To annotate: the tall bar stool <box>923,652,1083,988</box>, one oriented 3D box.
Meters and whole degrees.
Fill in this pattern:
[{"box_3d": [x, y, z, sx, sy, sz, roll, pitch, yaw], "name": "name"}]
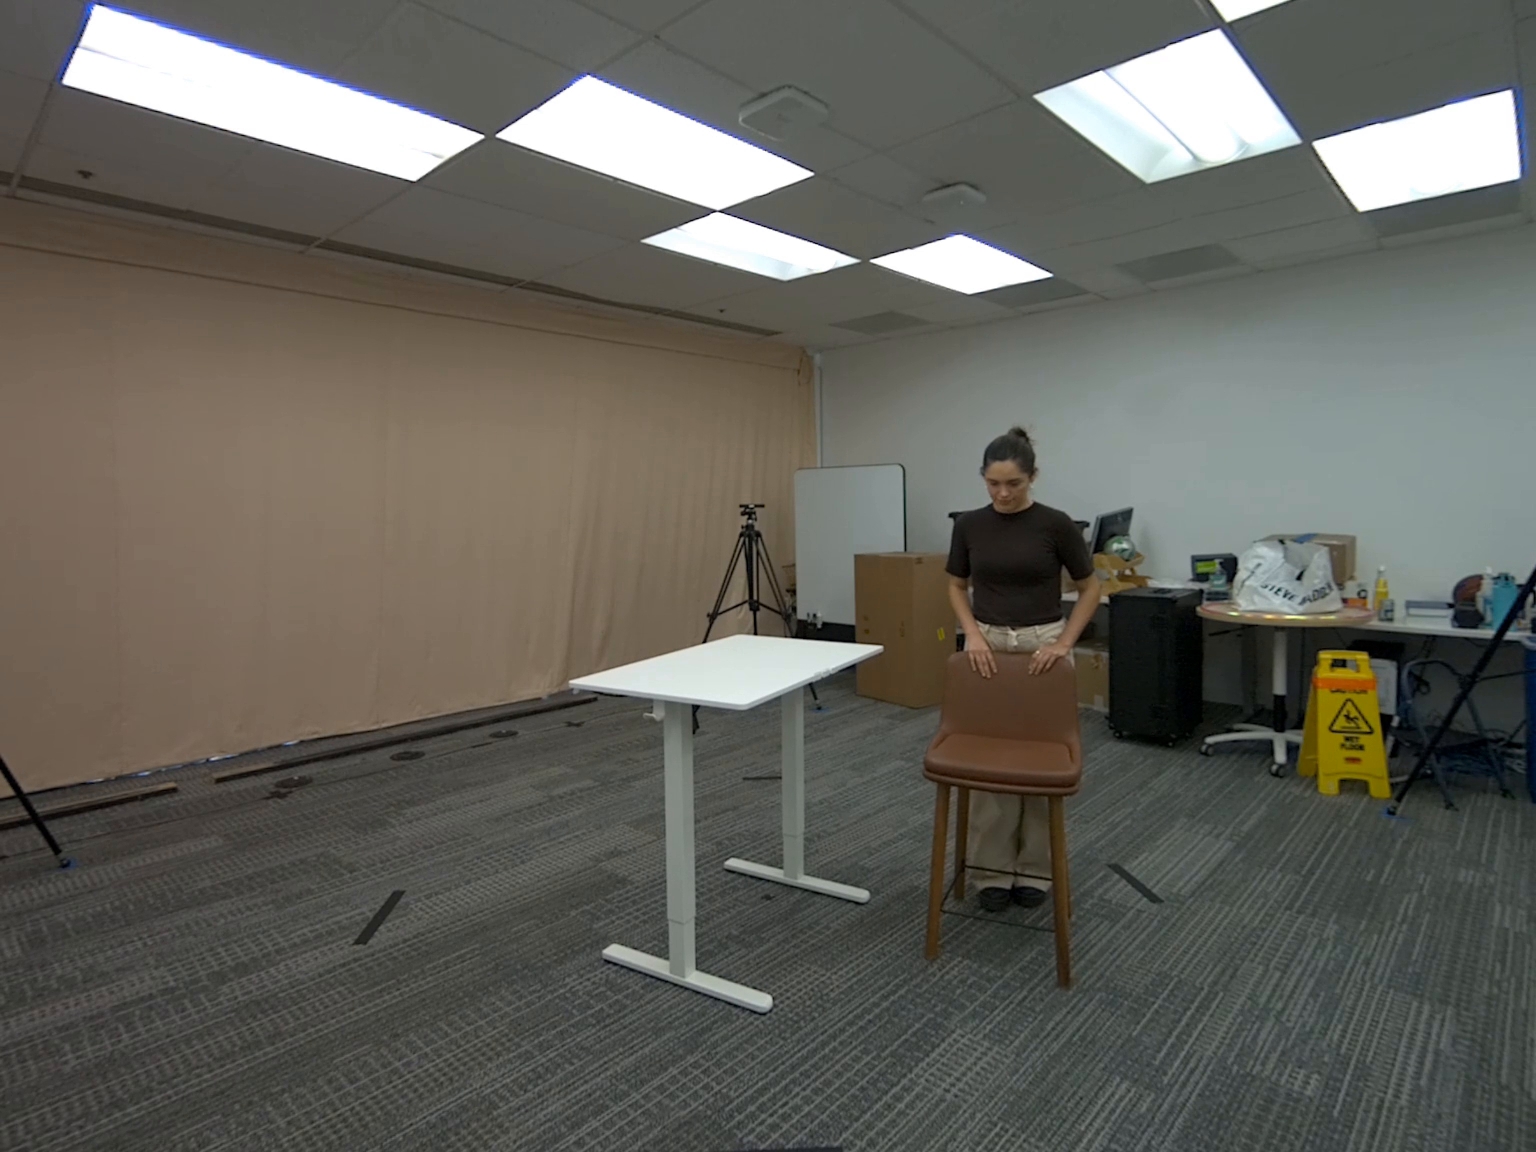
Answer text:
[{"box_3d": [0.750, 0.717, 2.660, 0.468, 0.889, 0.456, 1, 1, 25], "name": "tall bar stool"}]
